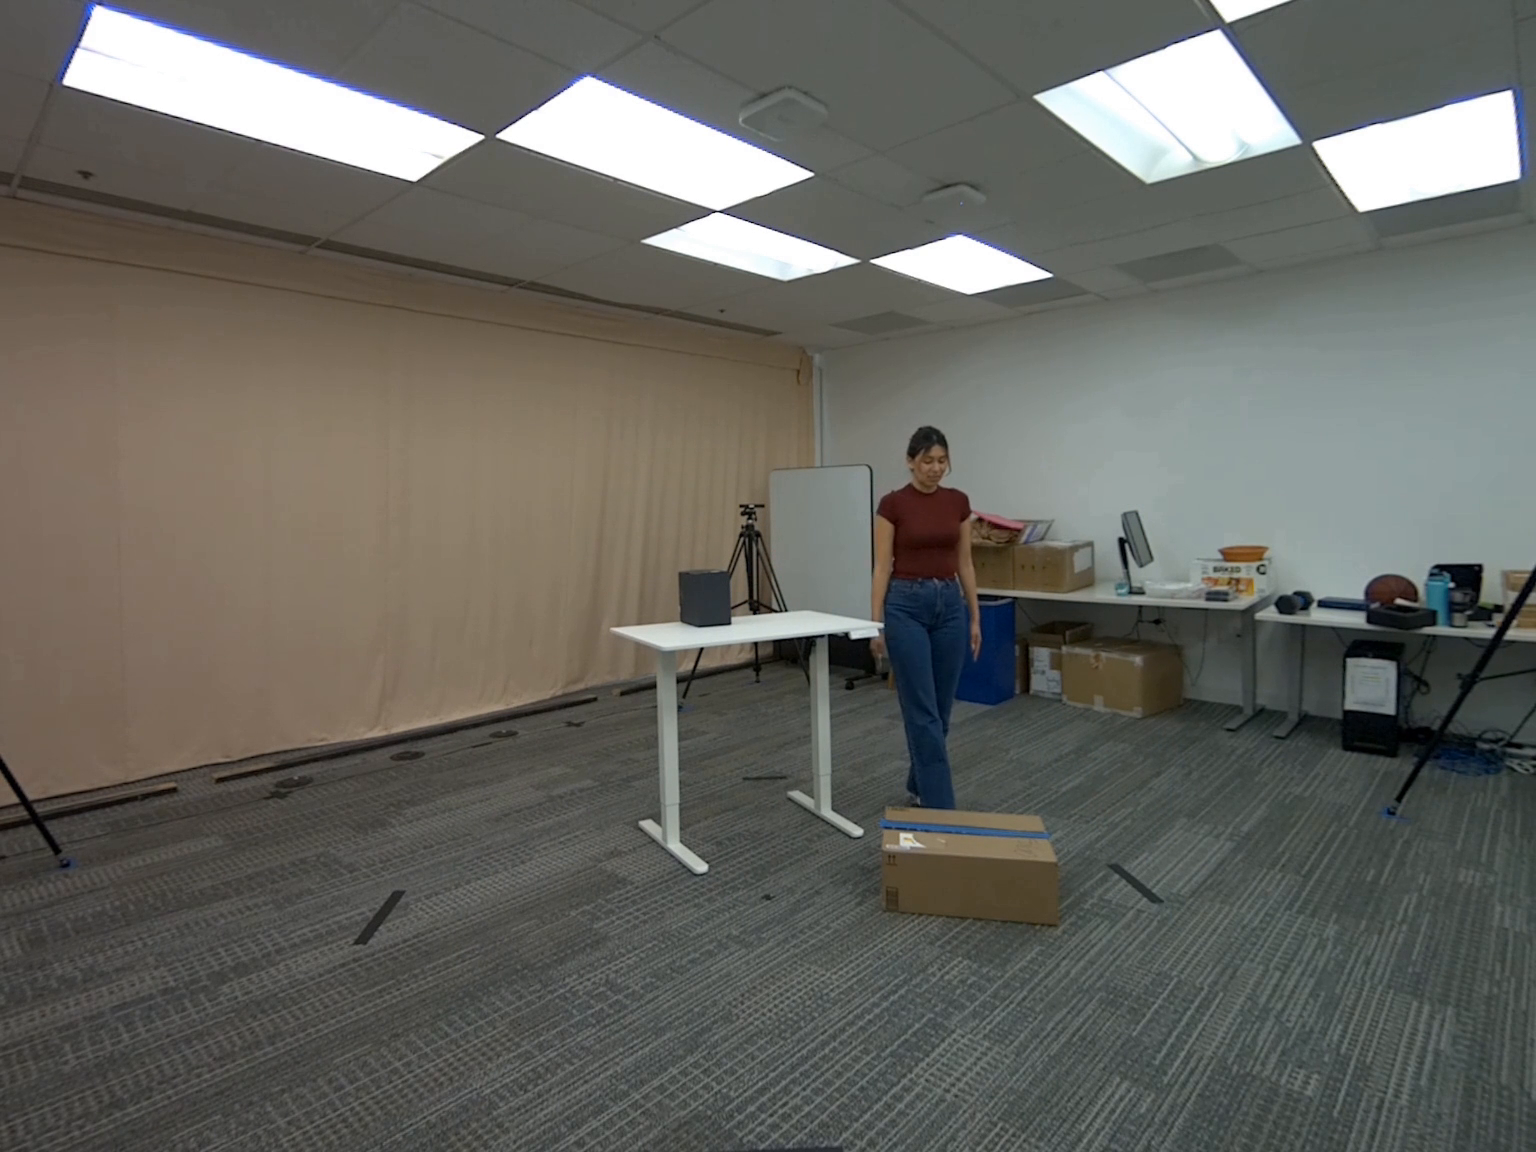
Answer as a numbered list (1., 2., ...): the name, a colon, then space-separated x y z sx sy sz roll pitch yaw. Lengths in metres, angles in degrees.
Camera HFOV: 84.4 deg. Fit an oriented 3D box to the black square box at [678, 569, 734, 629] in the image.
1. black square box: -0.273 0.093 3.670 0.152 0.227 0.222 -4 3 -27
